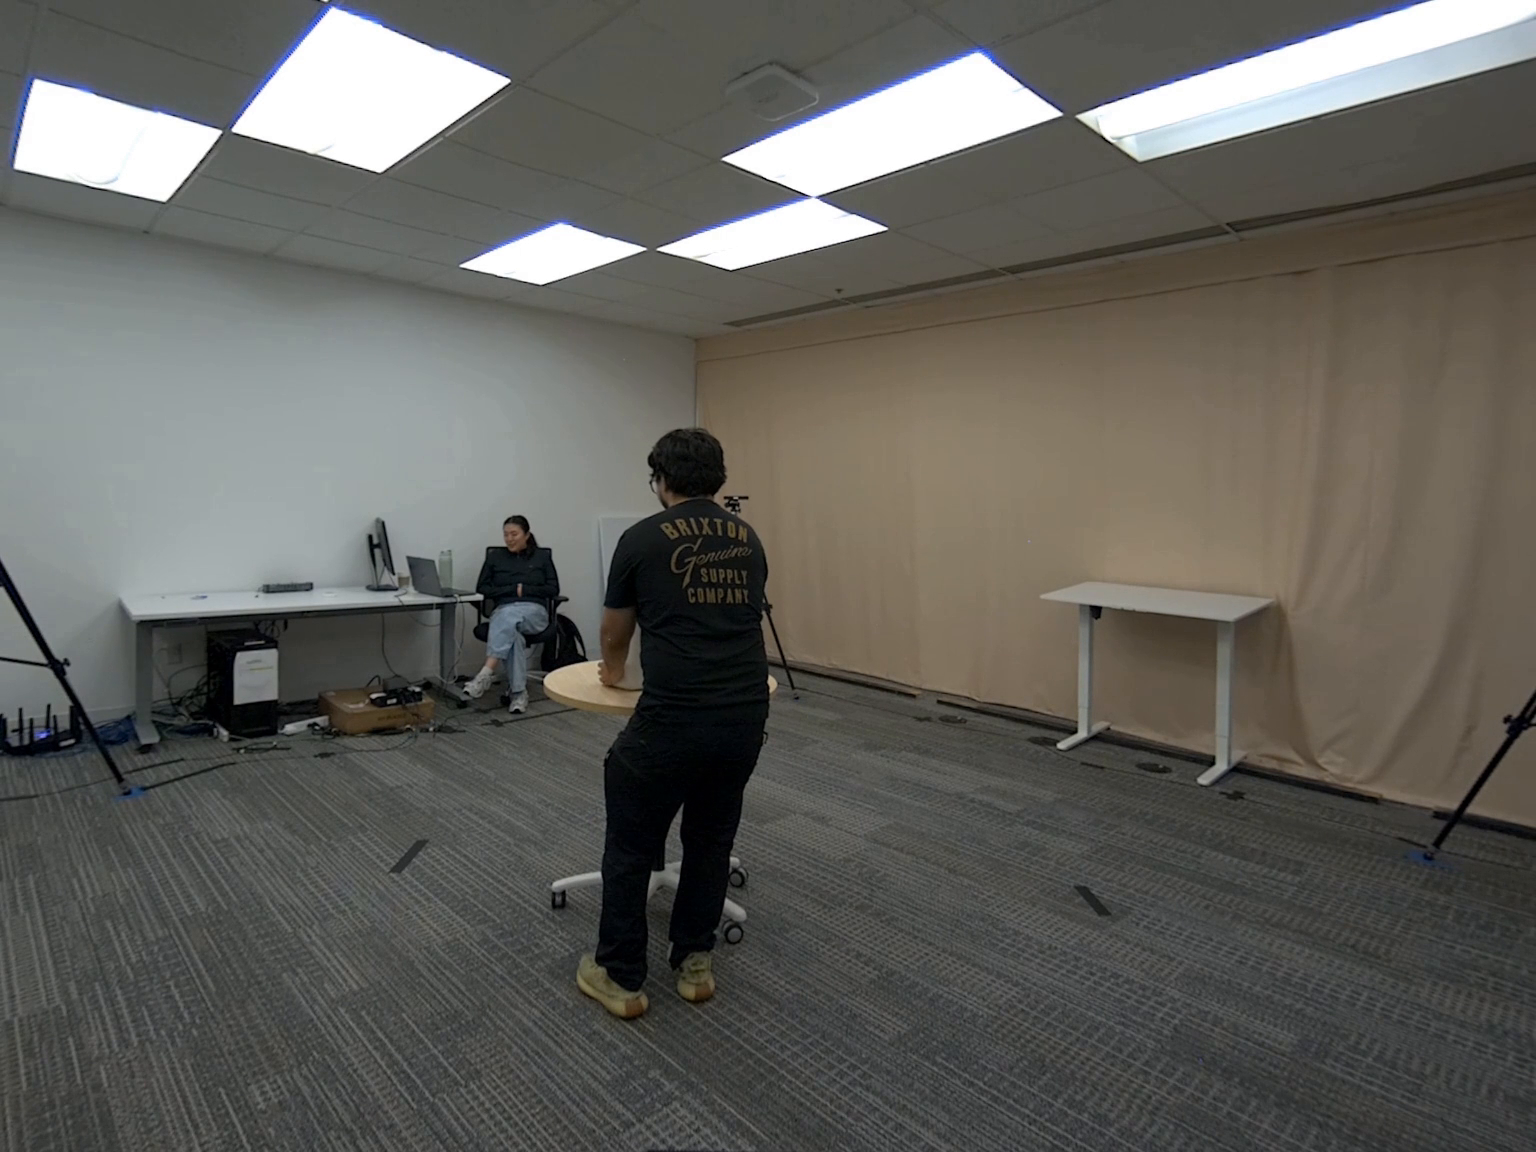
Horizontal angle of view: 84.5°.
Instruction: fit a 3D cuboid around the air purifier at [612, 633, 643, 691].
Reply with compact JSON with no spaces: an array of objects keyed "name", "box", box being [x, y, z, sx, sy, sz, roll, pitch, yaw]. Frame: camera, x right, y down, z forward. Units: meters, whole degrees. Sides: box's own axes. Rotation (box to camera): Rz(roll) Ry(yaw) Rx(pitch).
[{"name":"air purifier","box":[-0.435,0.223,2.675,0.176,0.265,0.167,5,5,41]}]
